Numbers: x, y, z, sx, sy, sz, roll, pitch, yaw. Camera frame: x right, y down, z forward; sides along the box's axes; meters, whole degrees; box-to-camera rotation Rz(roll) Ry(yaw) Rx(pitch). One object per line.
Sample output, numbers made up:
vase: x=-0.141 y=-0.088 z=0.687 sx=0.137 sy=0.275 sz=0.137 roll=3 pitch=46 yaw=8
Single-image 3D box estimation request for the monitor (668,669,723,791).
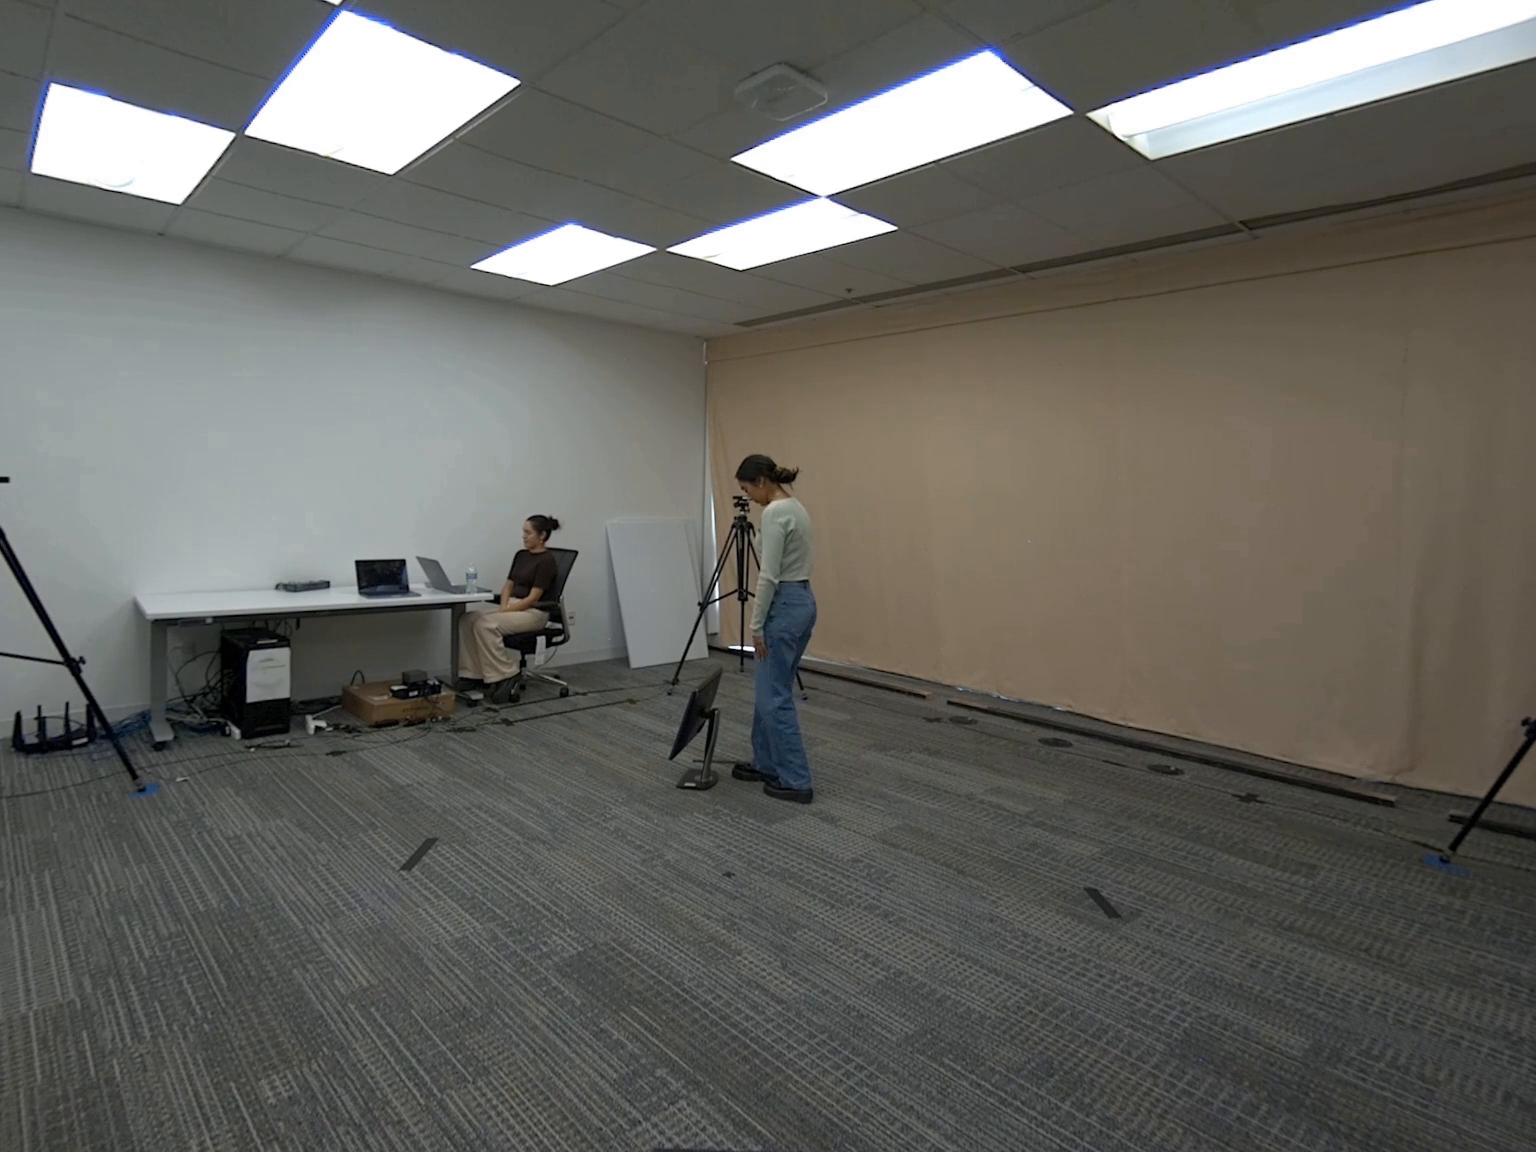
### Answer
monitor: x=-0.332 y=0.740 z=4.131 sx=0.176 sy=0.514 sz=0.527 roll=1 pitch=5 yaw=10
